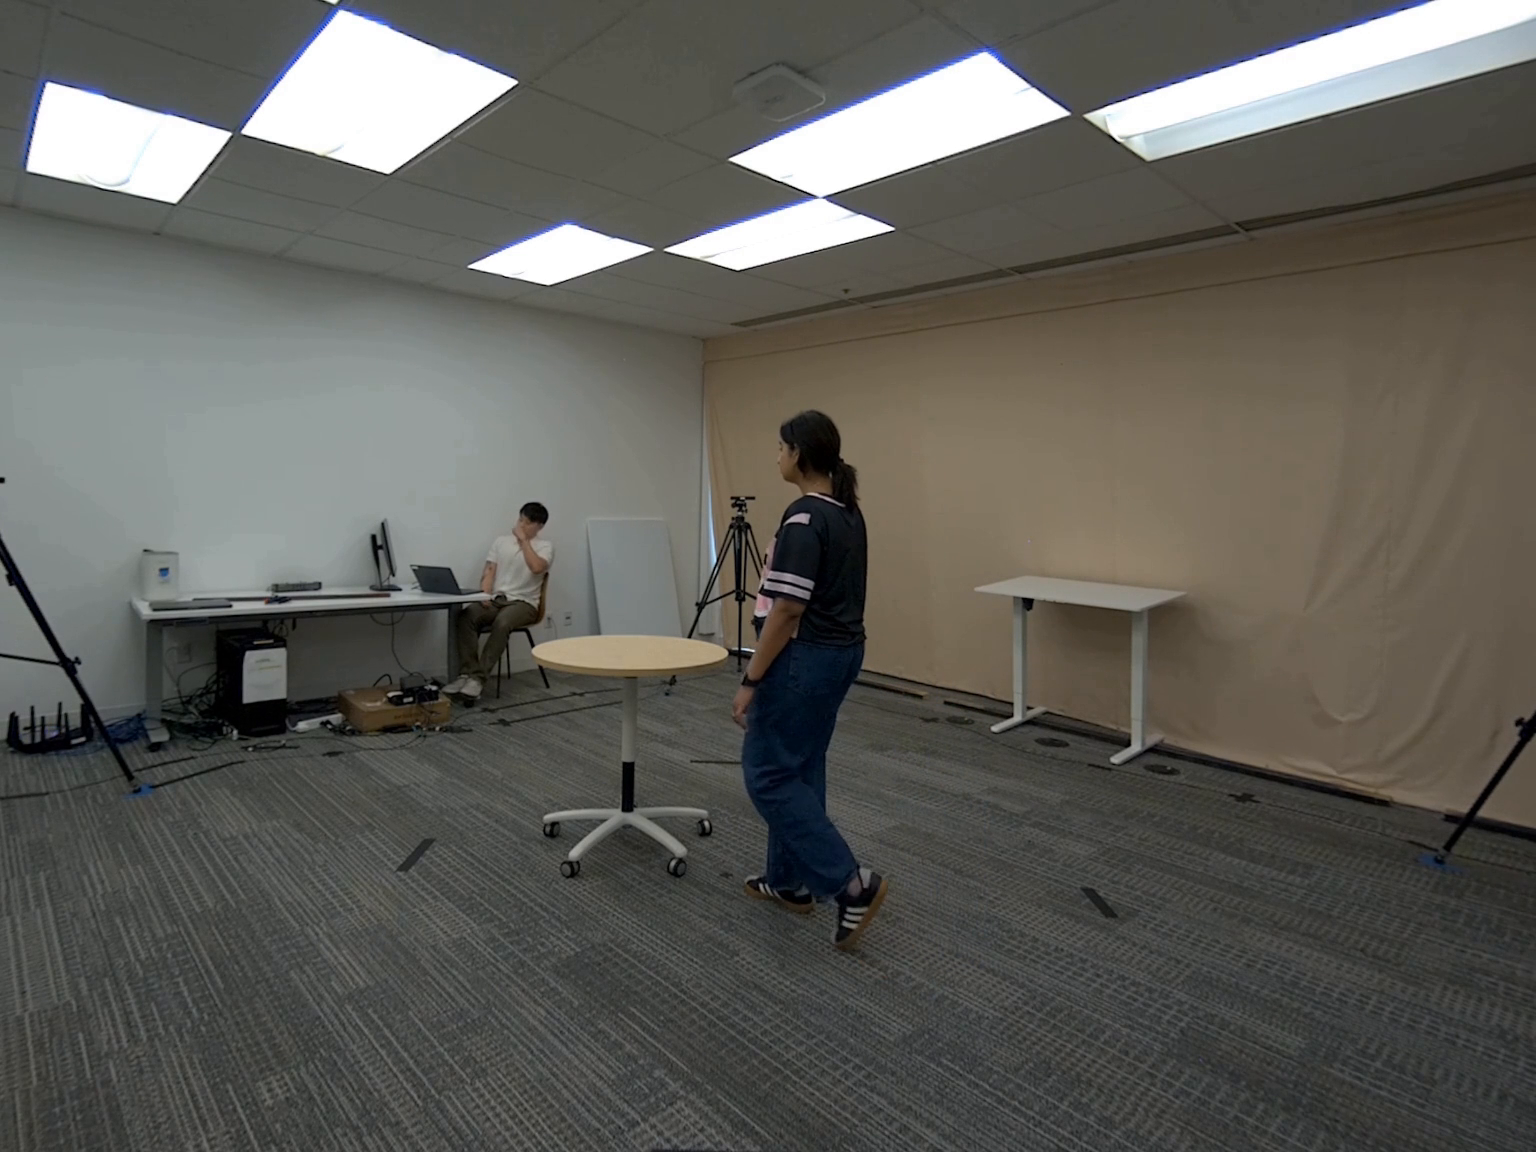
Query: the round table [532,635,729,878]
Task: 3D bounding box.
[{"bbox_3d":[-0.550,0.684,3.316,0.784,0.785,0.787,1,3,-1],"label":"round table"}]
